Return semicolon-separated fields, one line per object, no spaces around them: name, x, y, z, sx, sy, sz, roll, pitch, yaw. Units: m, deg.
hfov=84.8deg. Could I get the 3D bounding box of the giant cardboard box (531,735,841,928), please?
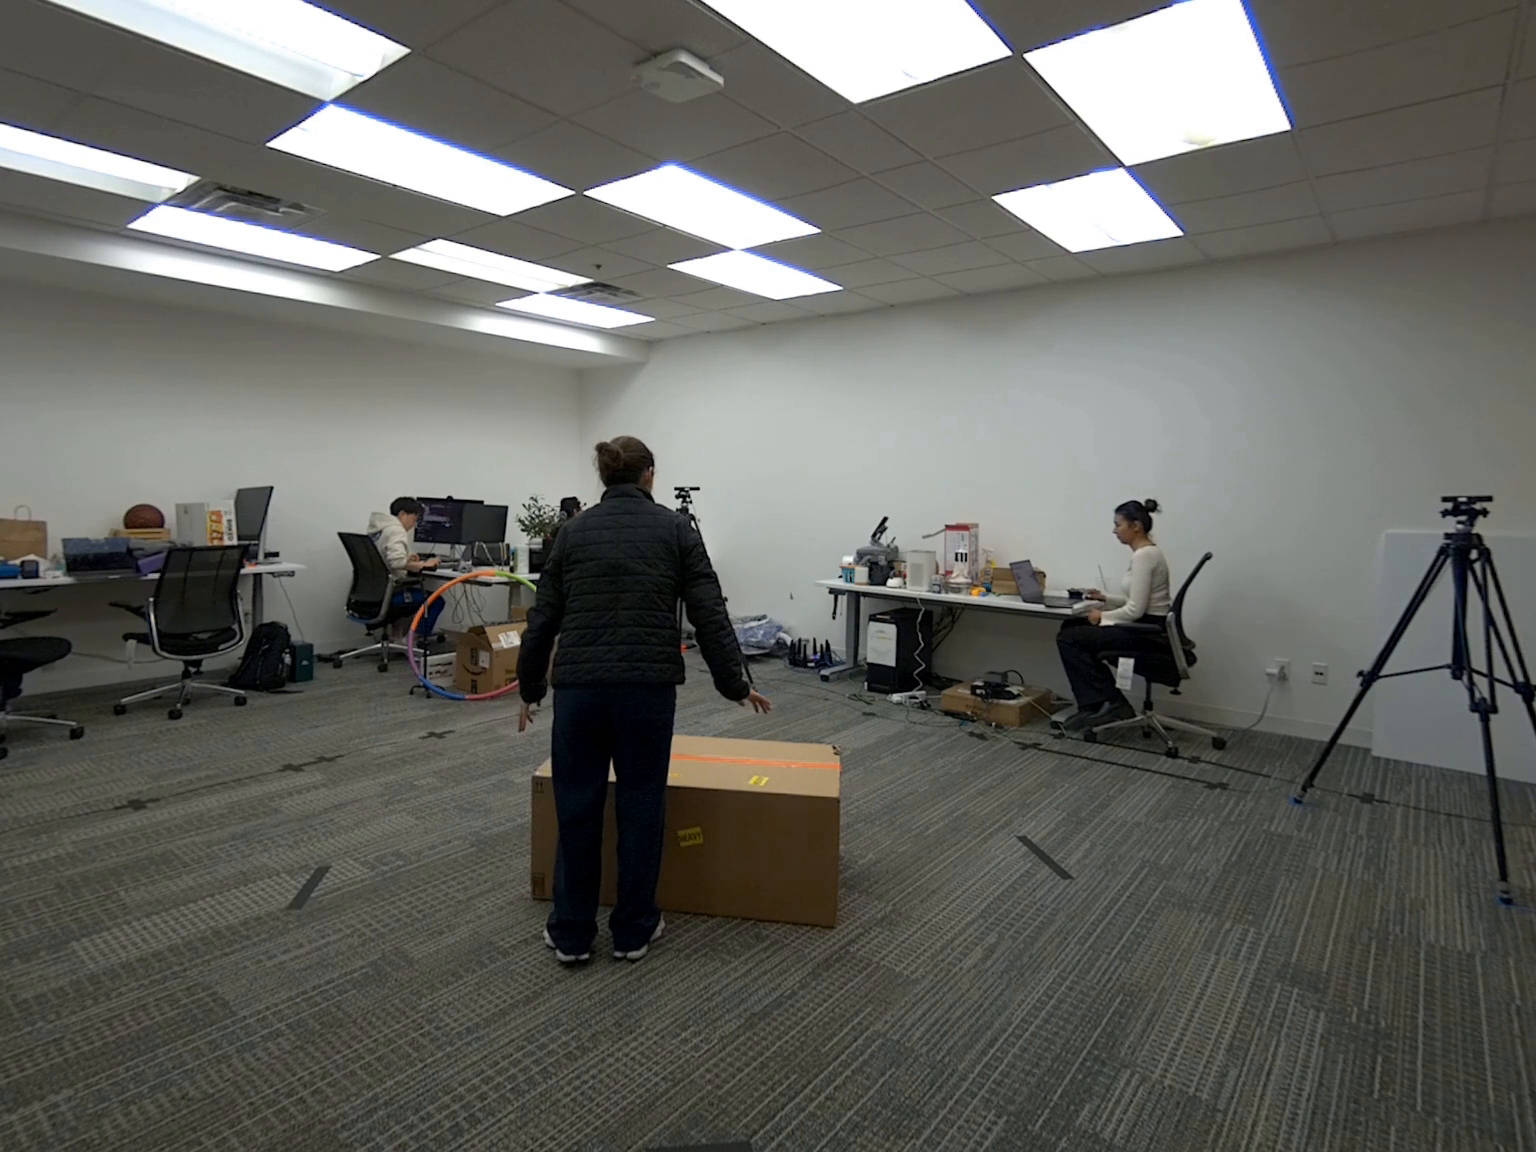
giant cardboard box;-0.248;0.853;3.057;1.036;0.424;0.574;2;5;8
